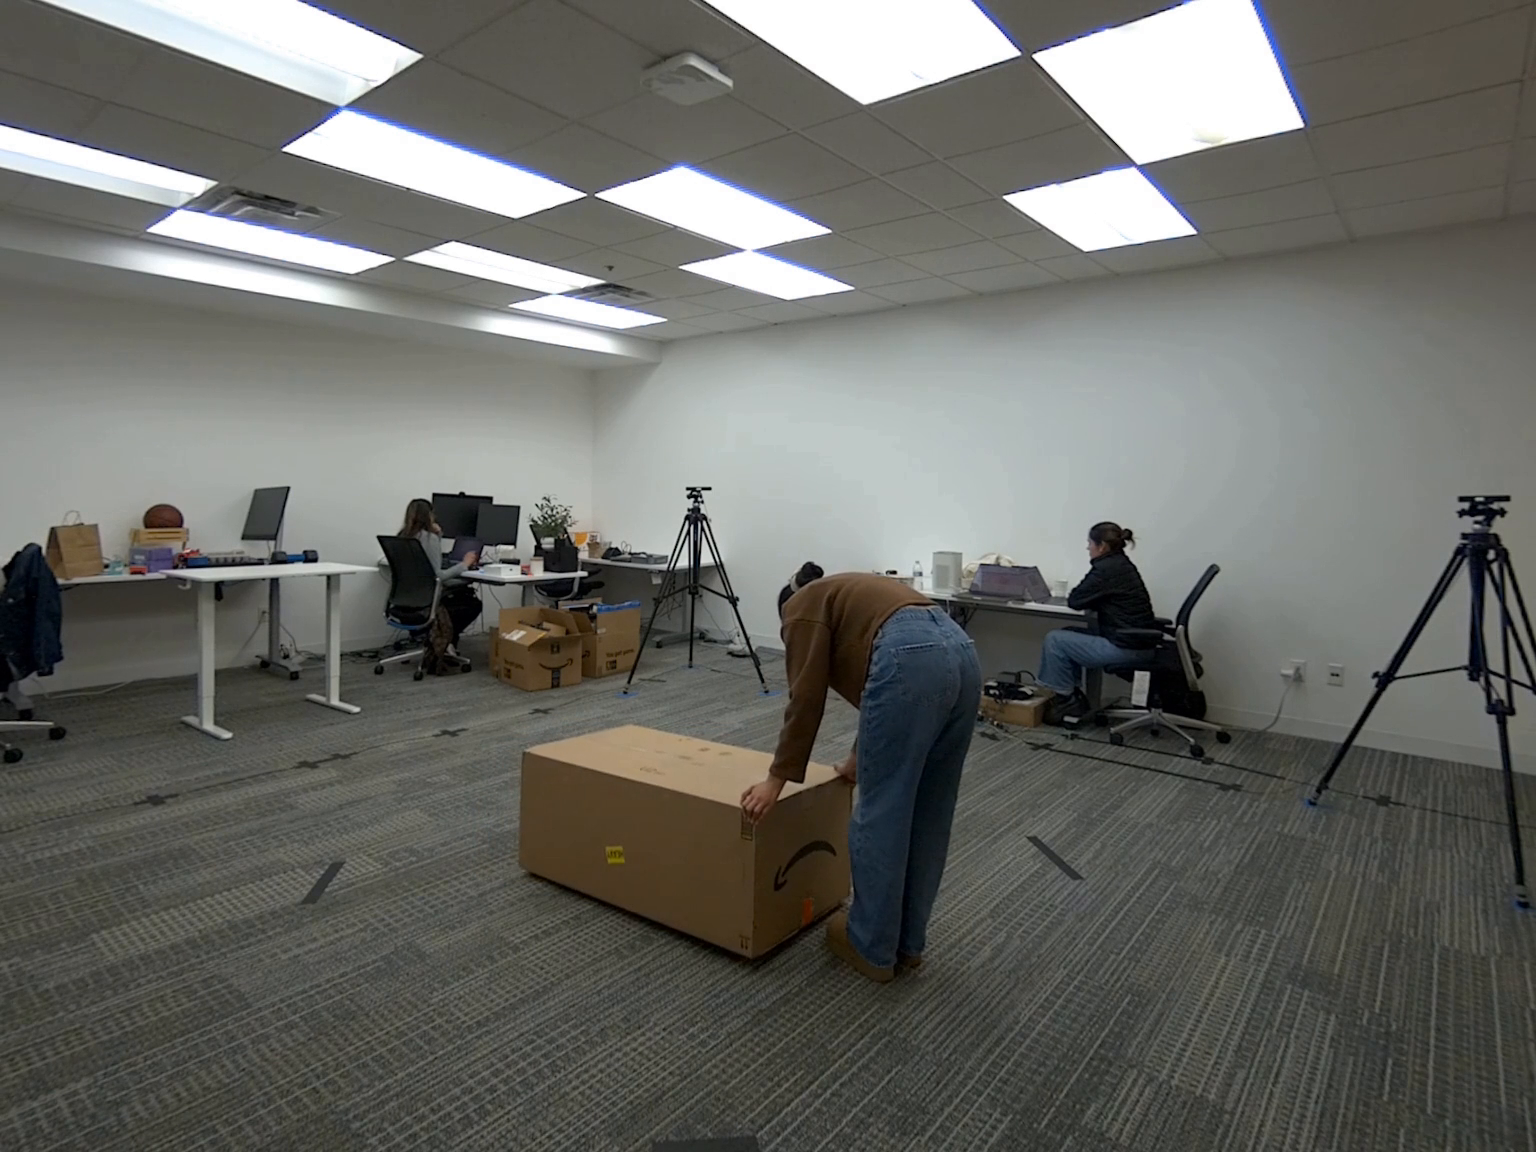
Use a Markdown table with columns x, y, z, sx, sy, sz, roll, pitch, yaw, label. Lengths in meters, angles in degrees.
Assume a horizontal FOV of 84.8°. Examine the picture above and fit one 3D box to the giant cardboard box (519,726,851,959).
| x | y | z | sx | sy | sz | roll | pitch | yaw | label |
| --- | --- | --- | --- | --- | --- | --- | --- | --- | --- |
| -0.318 | 0.848 | 2.950 | 1.059 | 0.446 | 0.567 | 2 | 3 | 36 | giant cardboard box |
